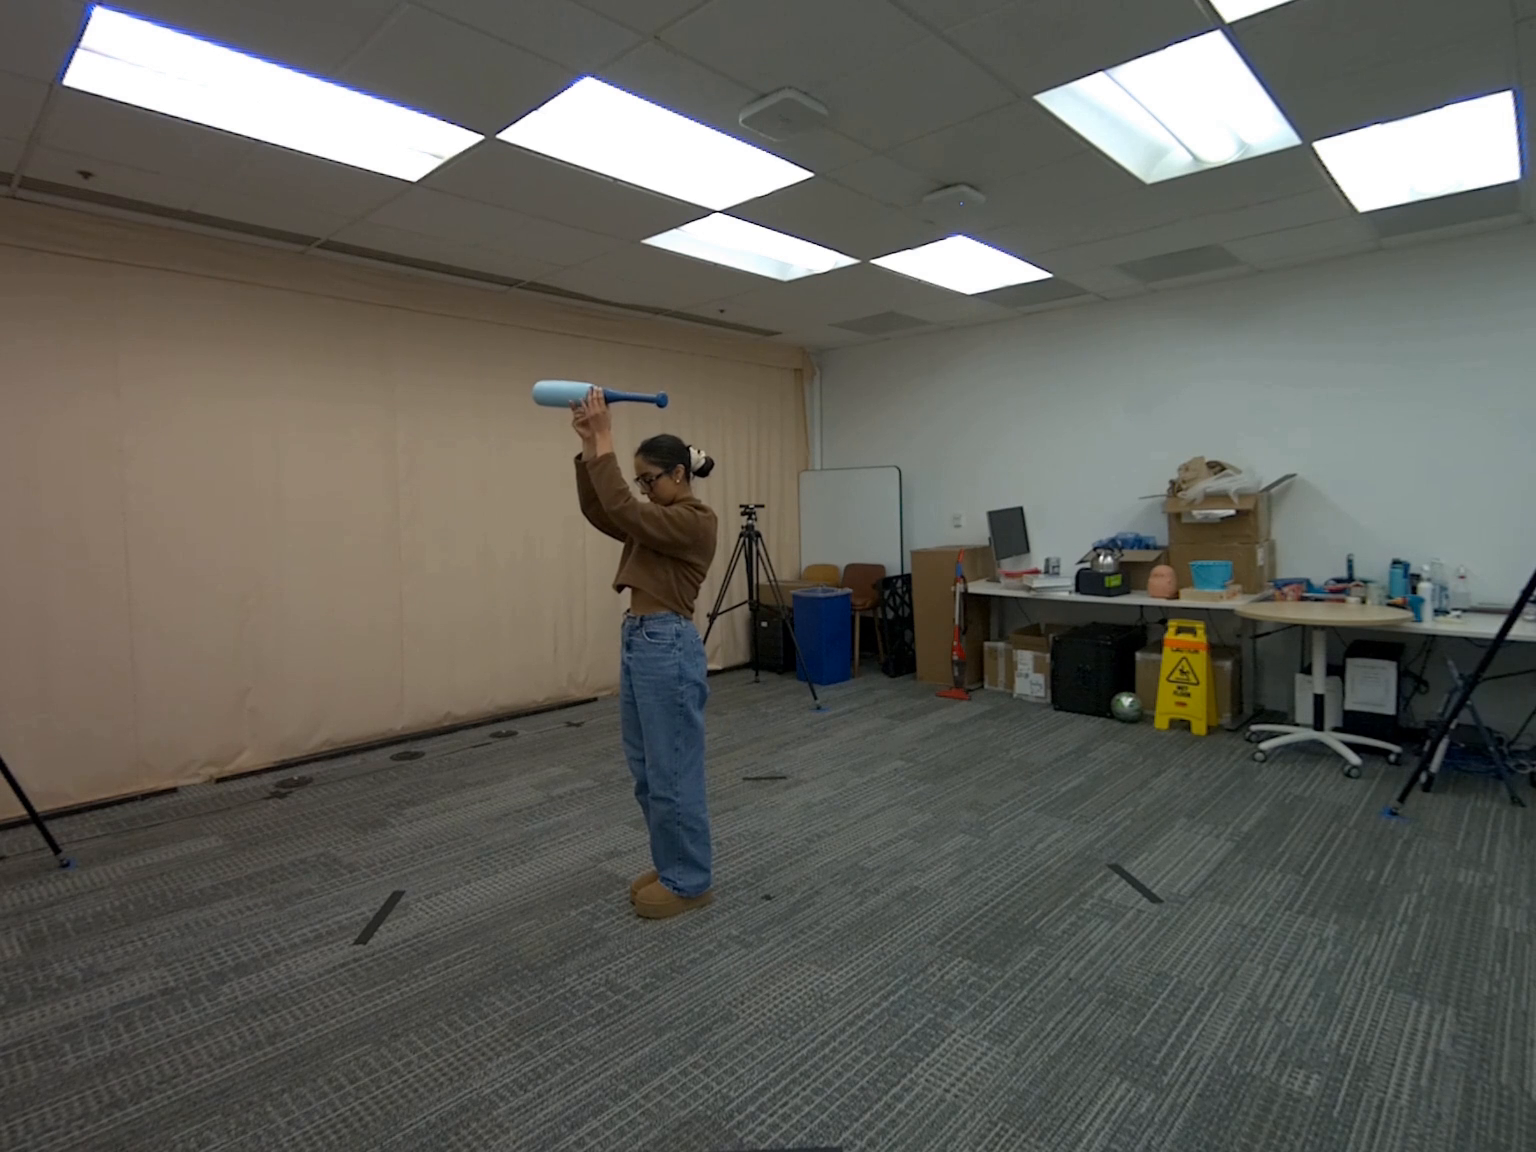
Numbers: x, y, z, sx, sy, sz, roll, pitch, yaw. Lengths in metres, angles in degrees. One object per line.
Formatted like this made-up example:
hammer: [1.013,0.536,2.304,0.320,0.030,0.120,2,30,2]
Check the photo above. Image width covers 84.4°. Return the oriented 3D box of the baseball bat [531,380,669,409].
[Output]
baseball bat: [-0.552,-0.589,2.741,0.560,0.089,0.087,10,9,30]
